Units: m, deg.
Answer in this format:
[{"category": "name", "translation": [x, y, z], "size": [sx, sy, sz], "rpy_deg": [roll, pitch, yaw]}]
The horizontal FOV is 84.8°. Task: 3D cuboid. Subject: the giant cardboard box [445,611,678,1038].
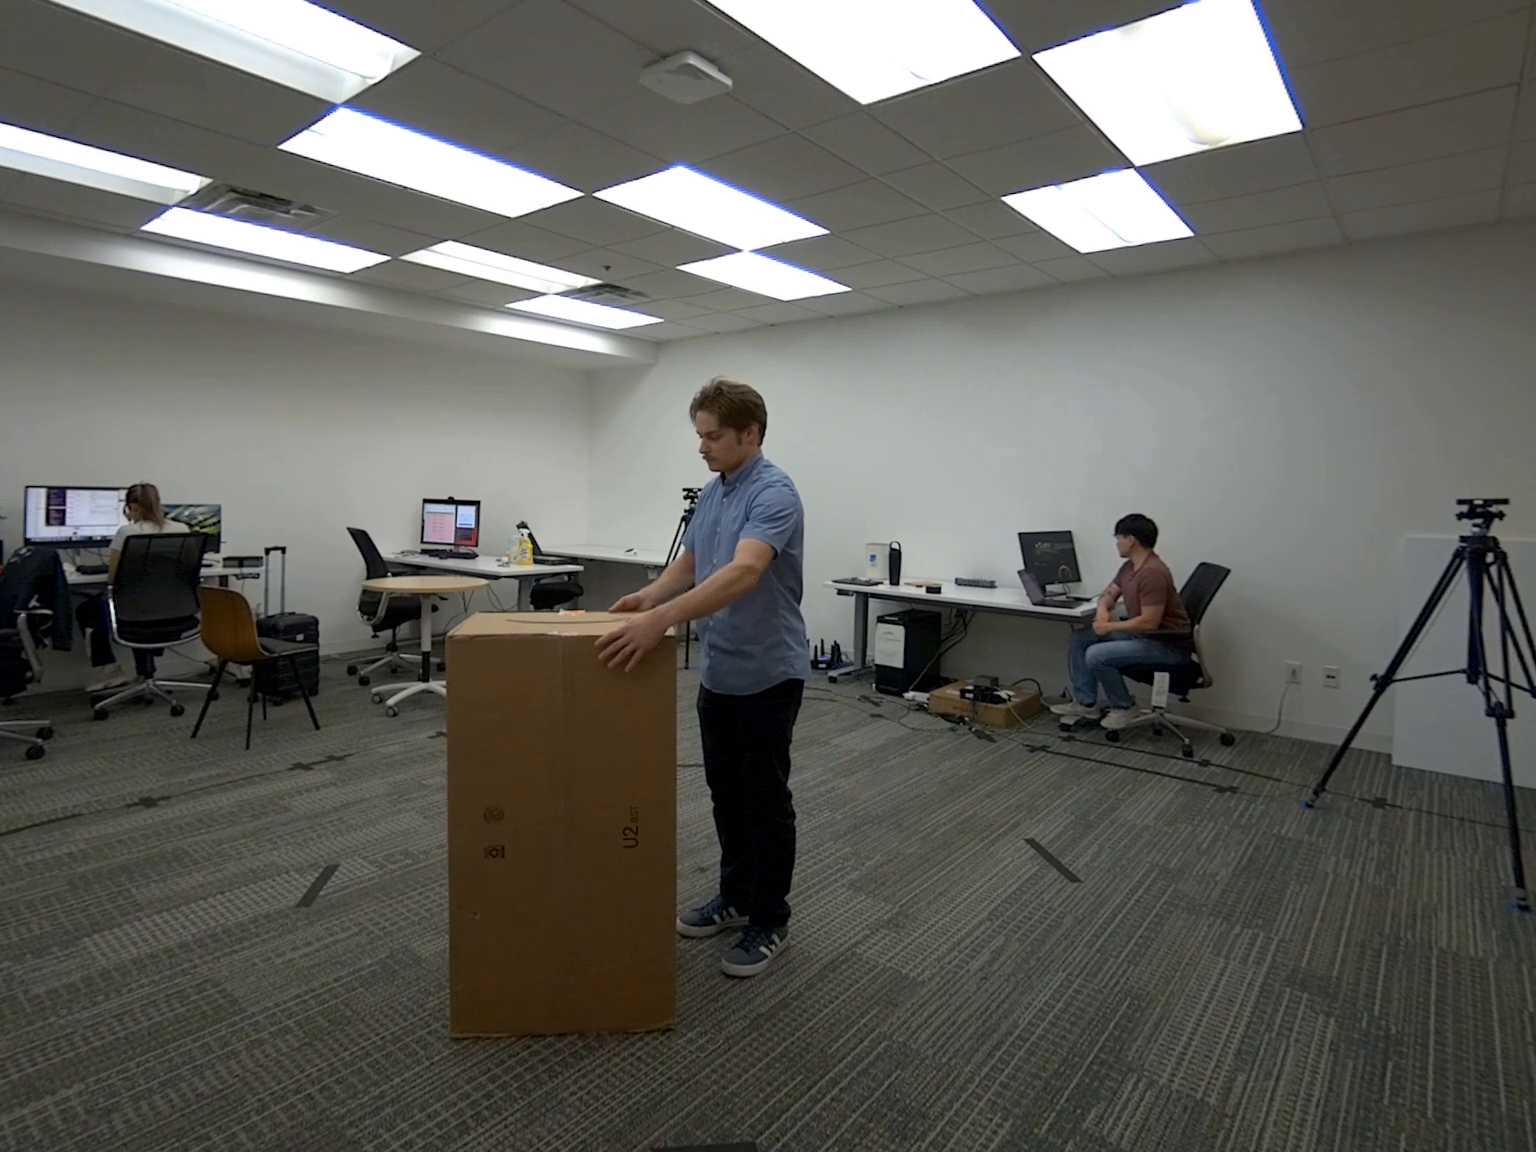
[{"category": "giant cardboard box", "translation": [-0.557, 0.635, 2.329], "size": [0.574, 1.023, 0.430], "rpy_deg": [0, 3, -6]}]
